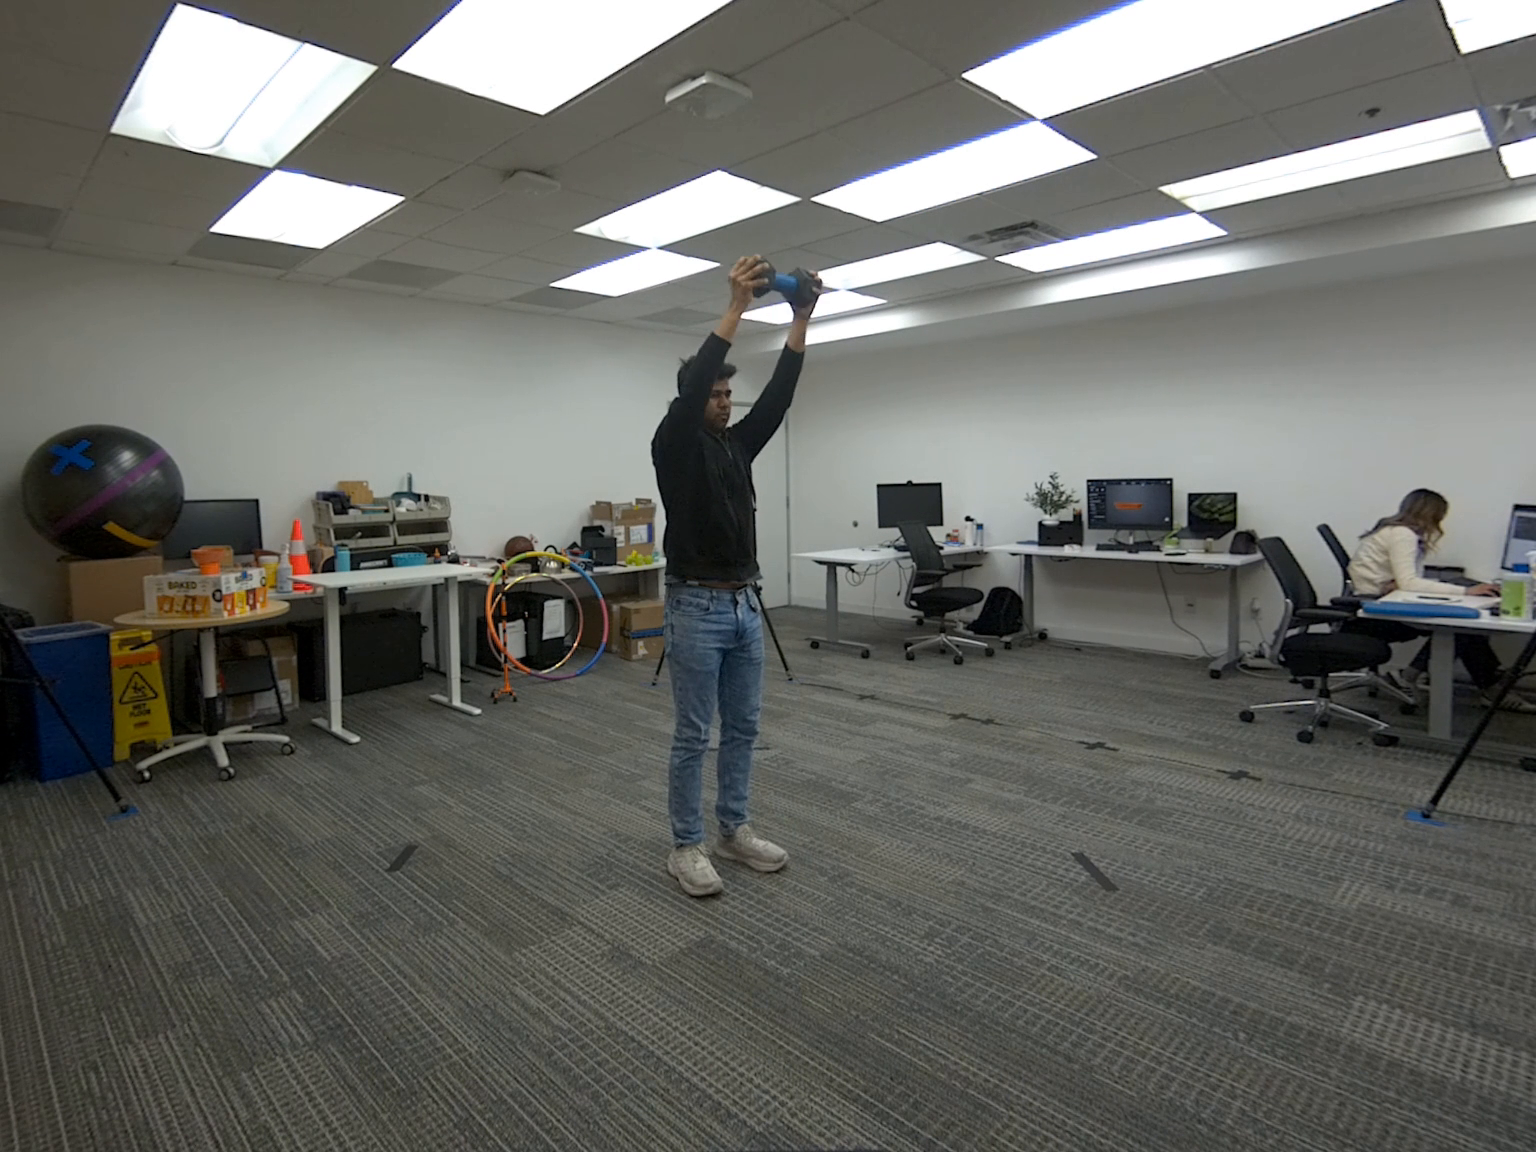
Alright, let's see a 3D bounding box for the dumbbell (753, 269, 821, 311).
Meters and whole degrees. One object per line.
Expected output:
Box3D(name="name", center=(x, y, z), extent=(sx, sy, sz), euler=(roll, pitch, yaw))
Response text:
Box3D(name="dumbbell", center=(0.039, -0.944, 2.774), extent=(0.286, 0.108, 0.127), euler=(-7, 50, -45))
